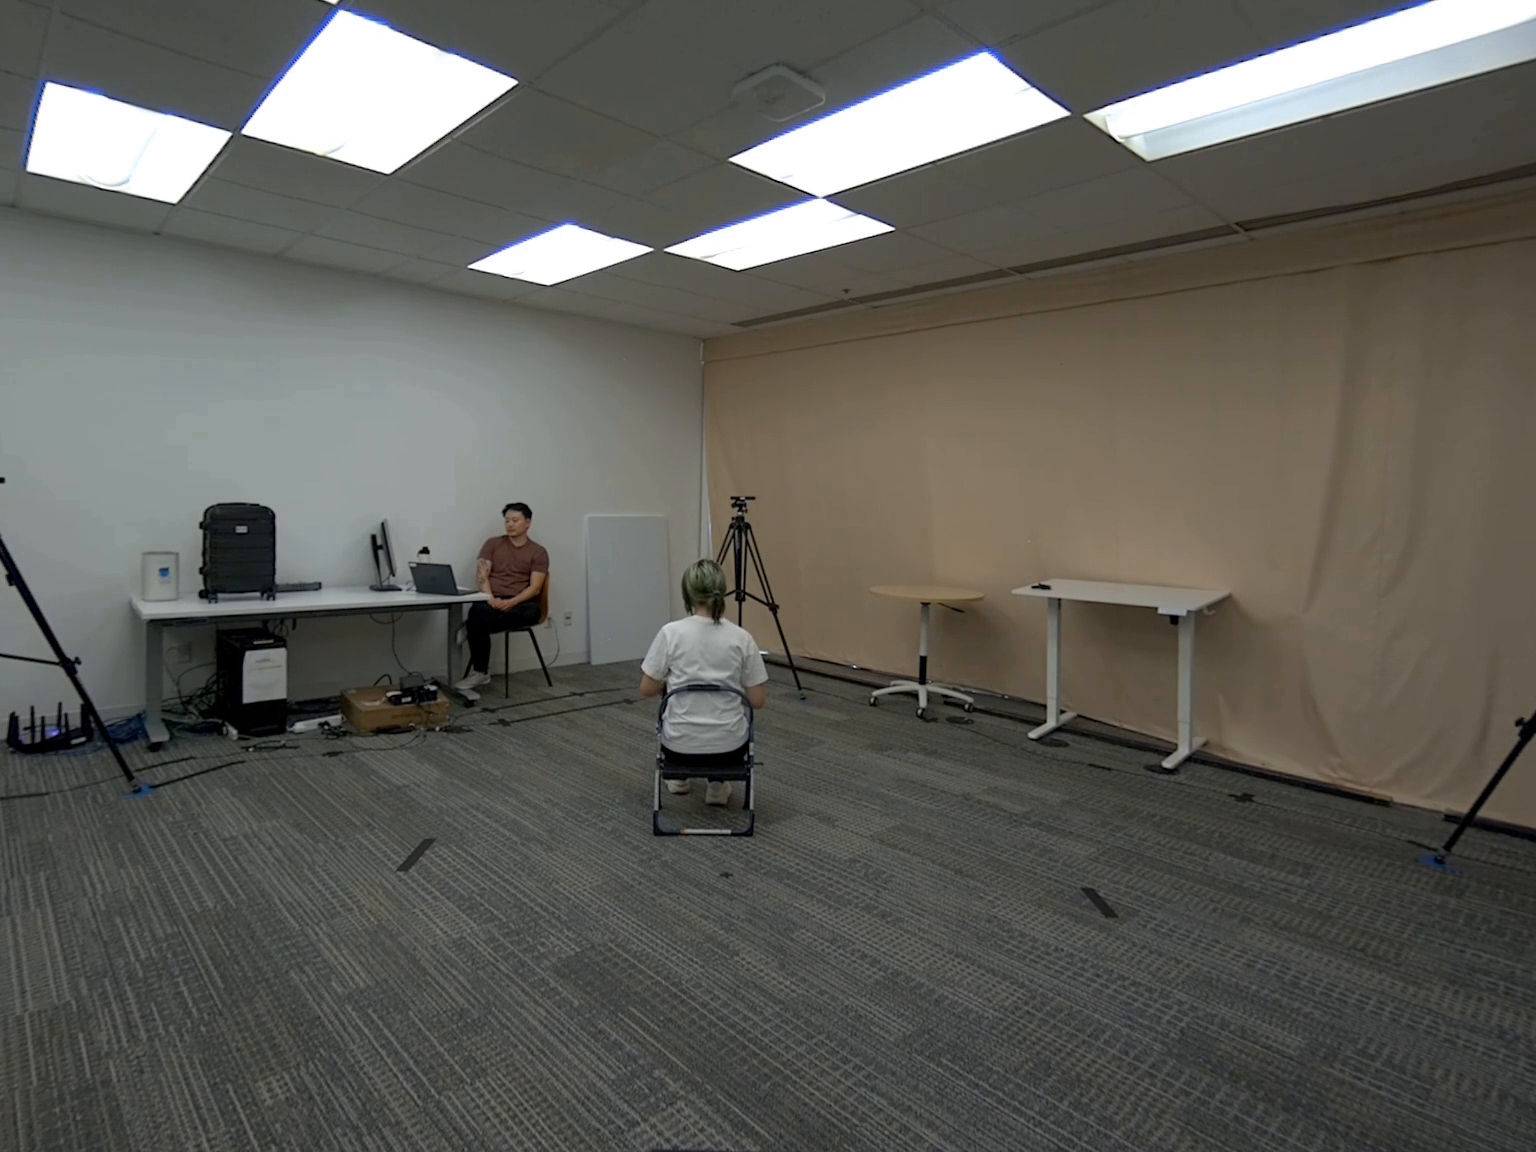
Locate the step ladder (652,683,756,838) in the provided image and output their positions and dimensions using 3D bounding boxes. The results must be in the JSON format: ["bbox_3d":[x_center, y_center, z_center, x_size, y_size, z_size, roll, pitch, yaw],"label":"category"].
[{"bbox_3d":[-0.285,0.760,3.612,0.429,0.605,0.351,1,2,-4],"label":"step ladder"}]
